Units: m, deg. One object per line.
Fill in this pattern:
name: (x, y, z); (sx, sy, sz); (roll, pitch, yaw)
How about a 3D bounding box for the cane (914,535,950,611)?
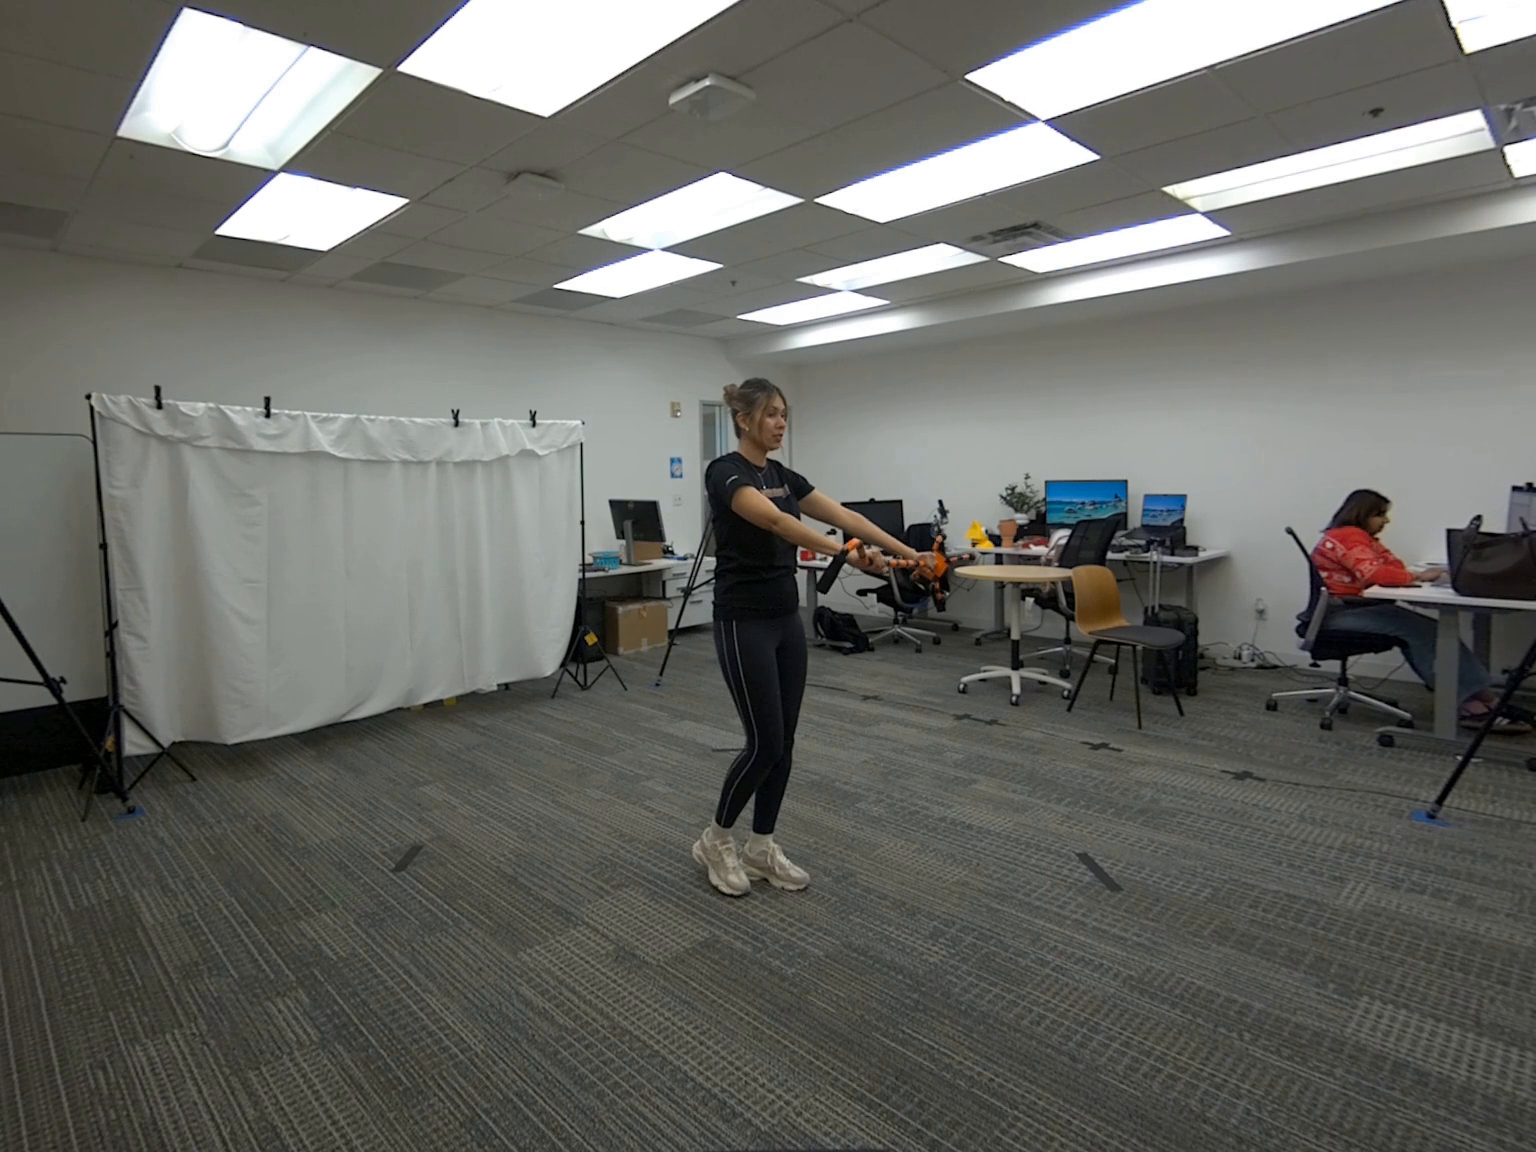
cane: (0.392, -0.035, 2.599); (0.156, 0.205, 0.883); (32, 15, 27)
